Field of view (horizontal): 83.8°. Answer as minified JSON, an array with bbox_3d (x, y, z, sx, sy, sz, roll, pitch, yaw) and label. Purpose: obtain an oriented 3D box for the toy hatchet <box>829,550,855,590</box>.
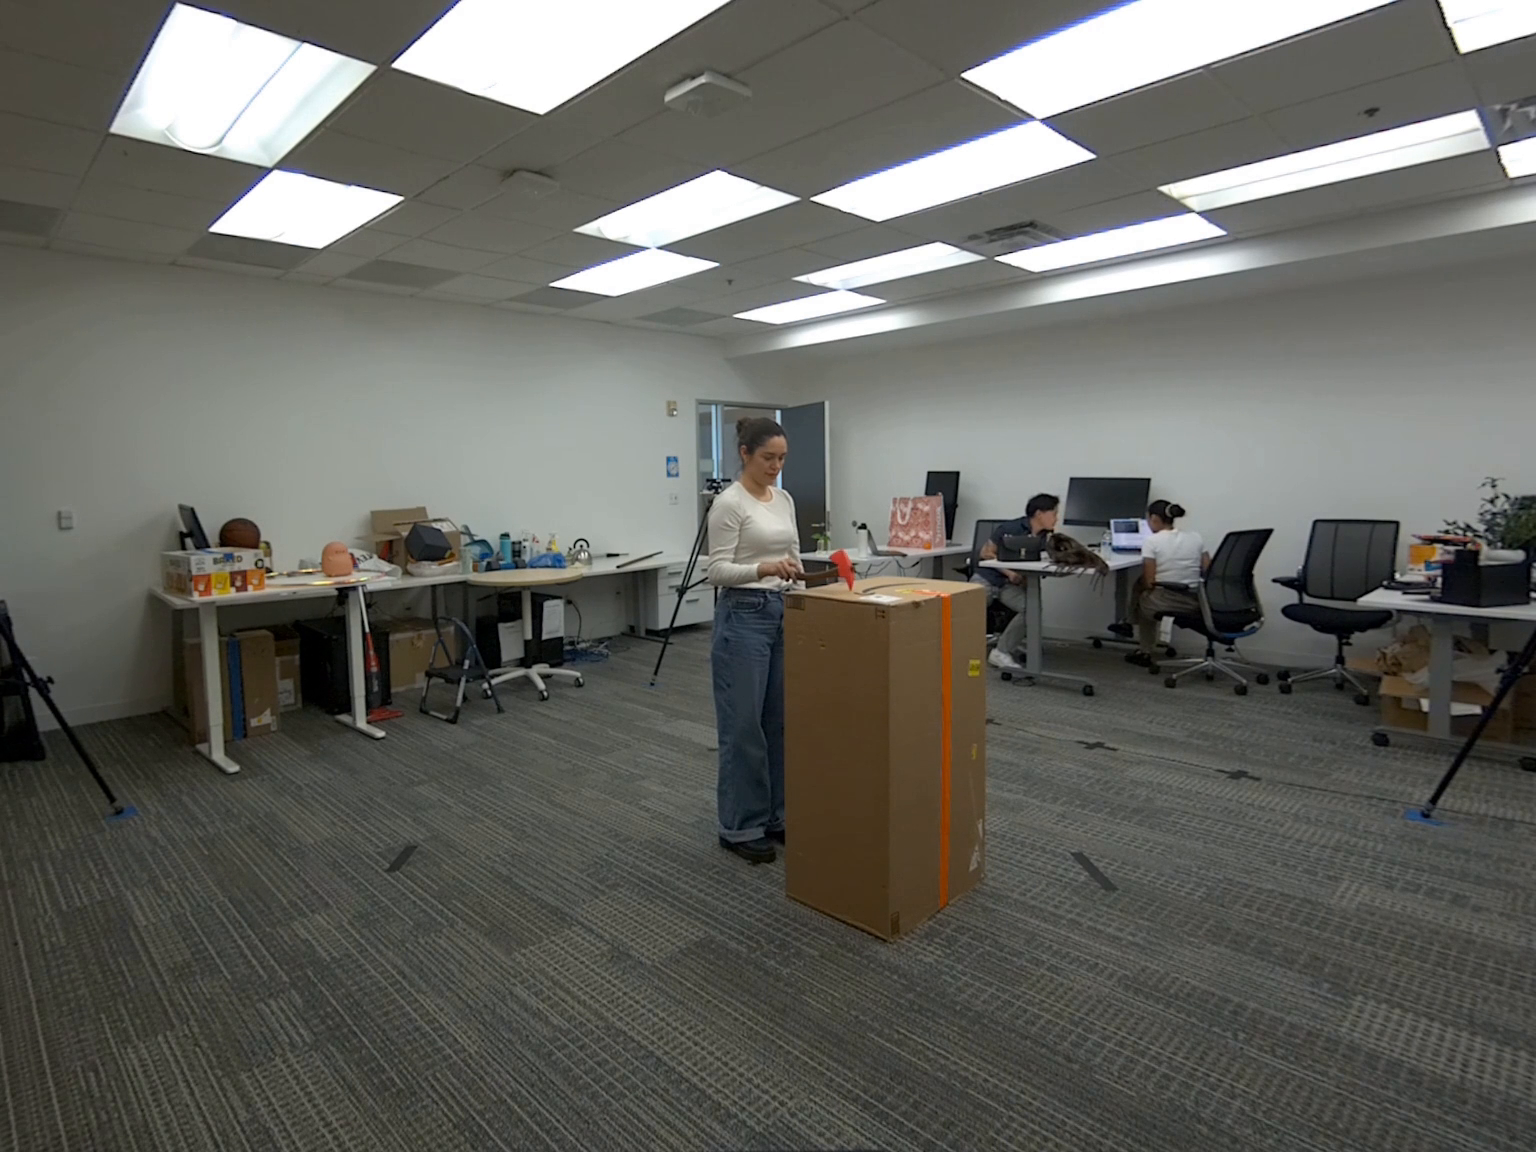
[{"bbox_3d":[0.175,-0.037,2.840,0.278,0.129,0.029,9,15,32],"label":"toy hatchet"}]
